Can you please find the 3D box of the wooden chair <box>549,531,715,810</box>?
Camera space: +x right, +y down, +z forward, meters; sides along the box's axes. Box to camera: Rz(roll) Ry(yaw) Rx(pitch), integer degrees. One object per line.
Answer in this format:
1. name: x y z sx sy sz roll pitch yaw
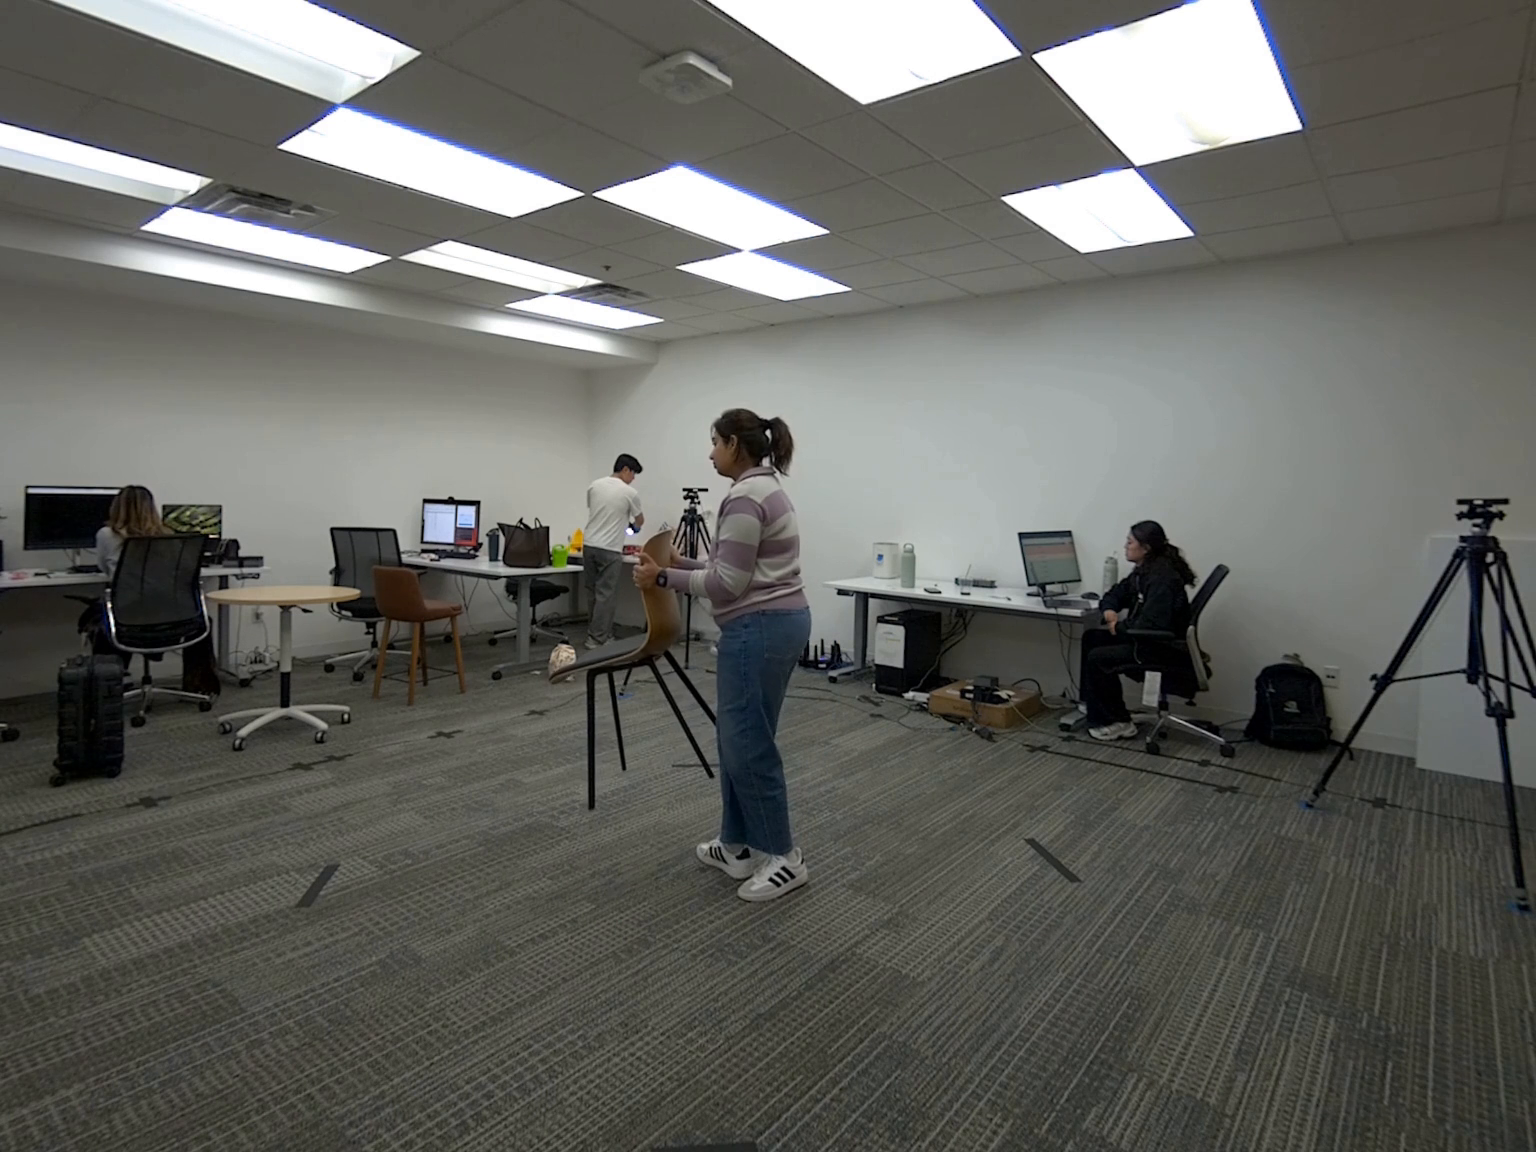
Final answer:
1. wooden chair: -0.519 0.318 3.101 0.527 0.877 0.475 -12 1 8
